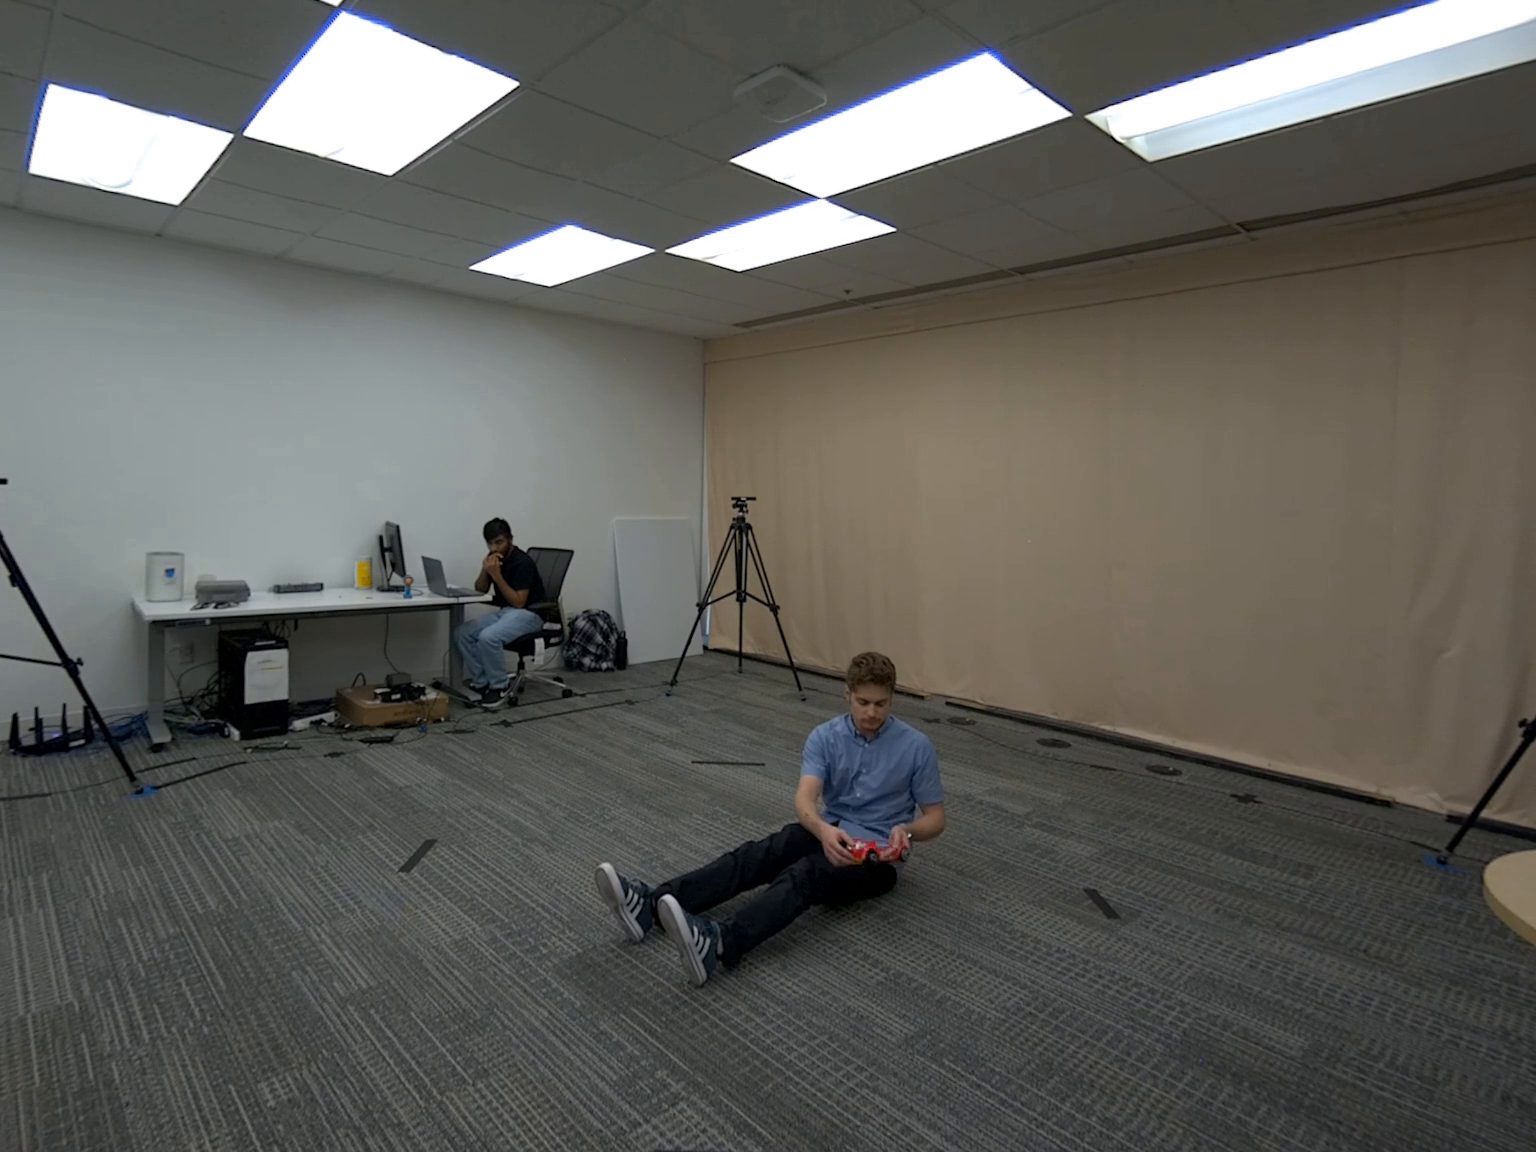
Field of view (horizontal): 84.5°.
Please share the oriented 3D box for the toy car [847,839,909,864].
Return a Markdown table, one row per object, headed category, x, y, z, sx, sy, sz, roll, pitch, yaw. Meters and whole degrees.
| category | x | y | z | sx | sy | sz | roll | pitch | yaw |
| --- | --- | --- | --- | --- | --- | --- | --- | --- | --- |
| toy car | 0.315 | 0.892 | 2.685 | 0.248 | 0.084 | 0.131 | 22 | -30 | -29 |
